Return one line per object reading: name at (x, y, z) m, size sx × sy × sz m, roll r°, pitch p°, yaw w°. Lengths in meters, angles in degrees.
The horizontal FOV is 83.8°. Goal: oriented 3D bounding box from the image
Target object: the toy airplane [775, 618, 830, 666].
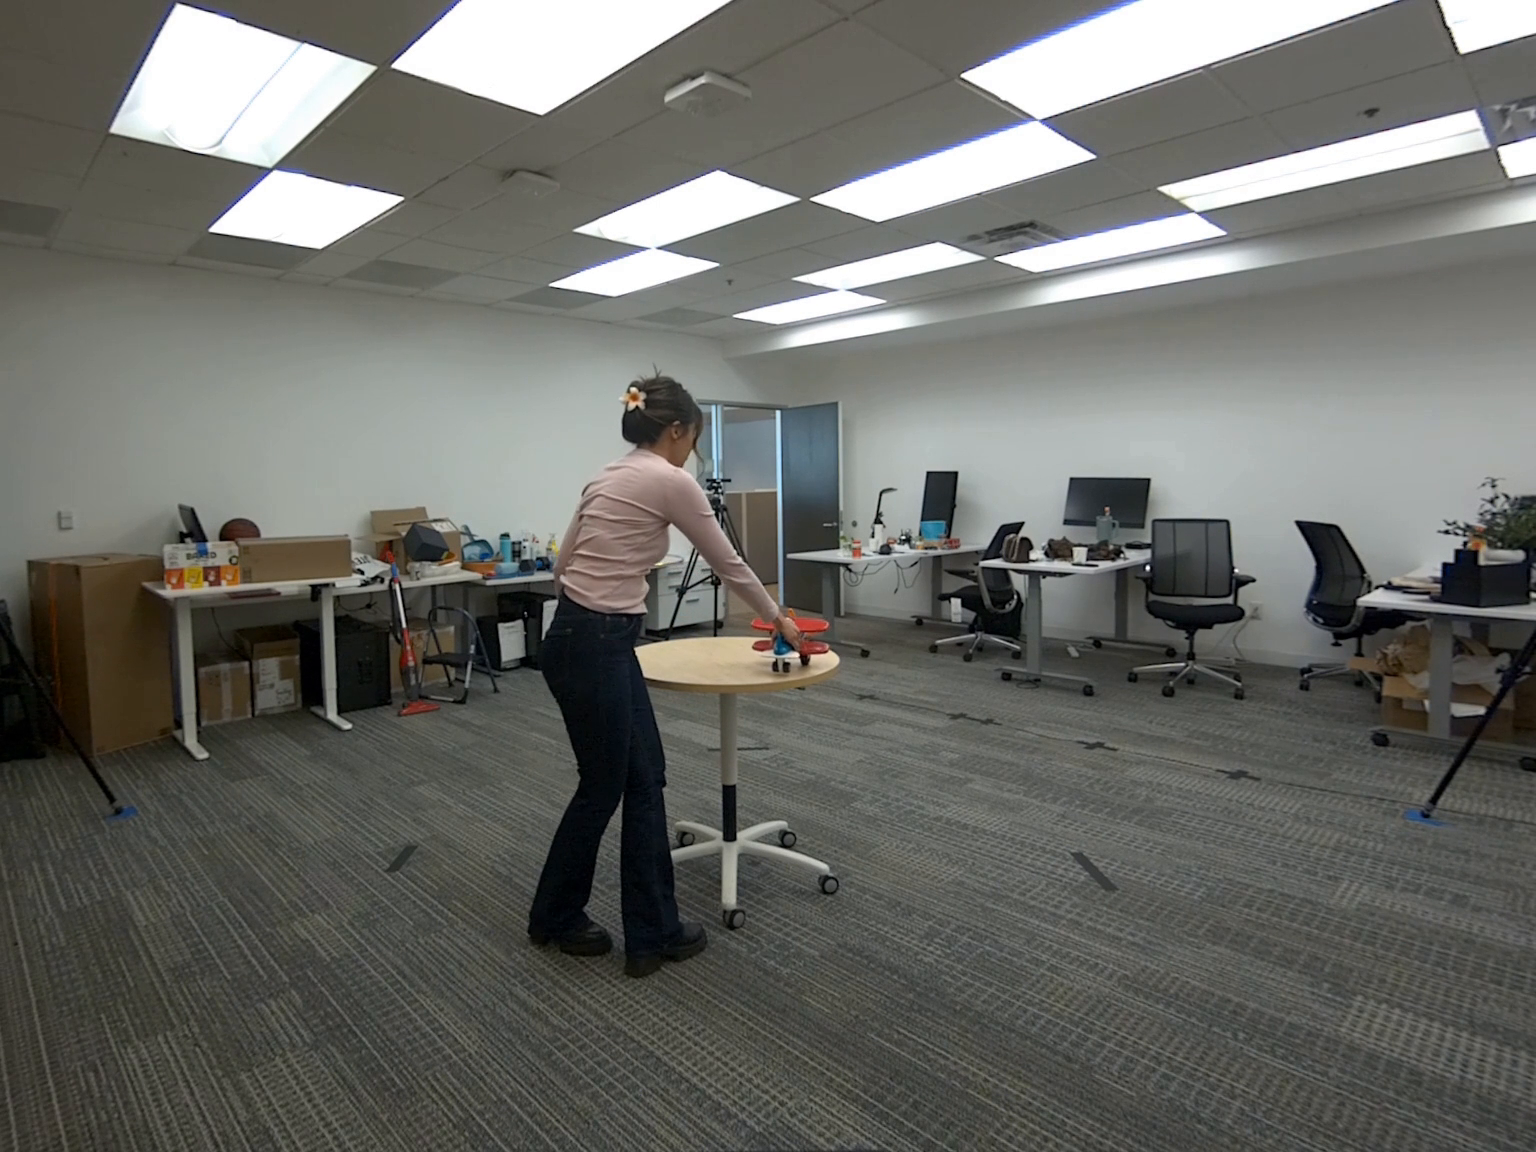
toy airplane at (0.085, 0.215, 2.753) m, size 0.248 × 0.157 × 0.262 m, roll 1°, pitch -1°, yaw -12°
